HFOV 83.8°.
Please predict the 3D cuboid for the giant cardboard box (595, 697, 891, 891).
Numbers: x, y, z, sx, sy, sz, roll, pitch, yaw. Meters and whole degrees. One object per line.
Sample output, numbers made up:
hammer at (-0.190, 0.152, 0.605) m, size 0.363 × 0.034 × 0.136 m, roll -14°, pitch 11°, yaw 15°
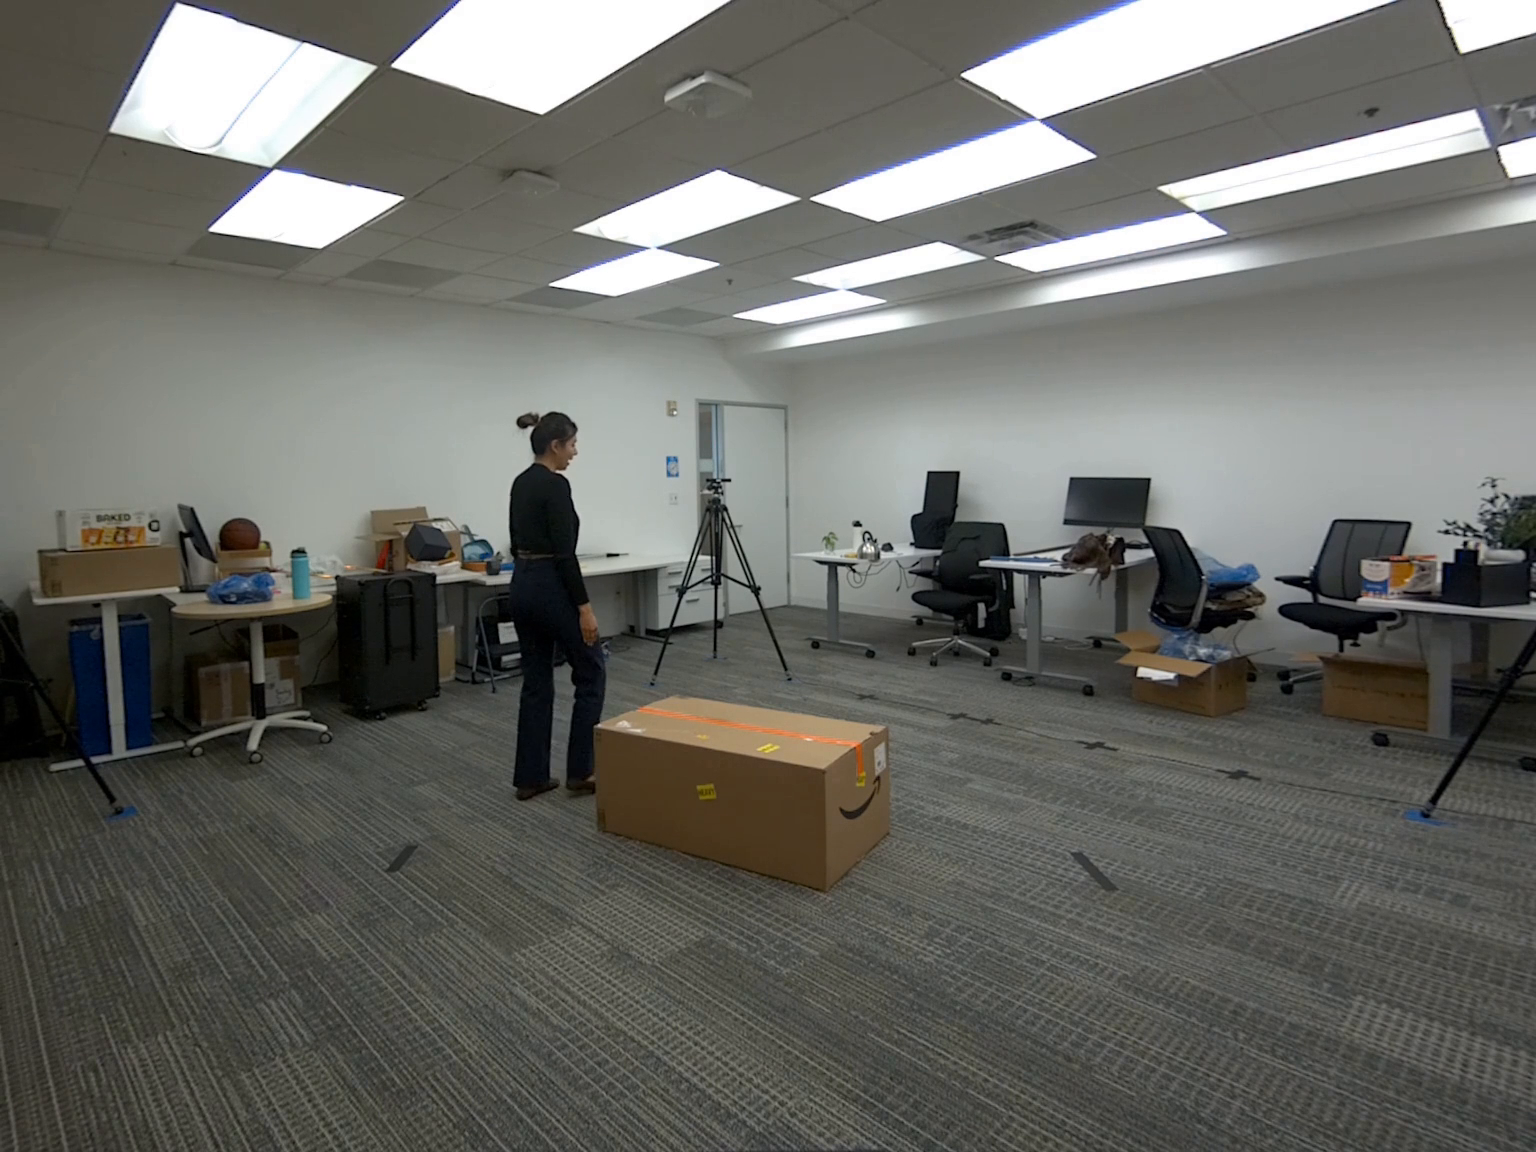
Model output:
giant cardboard box at (-0.107, 0.801, 3.376) m, size 1.054 × 0.425 × 0.564 m, roll 3°, pitch 5°, yaw 32°
